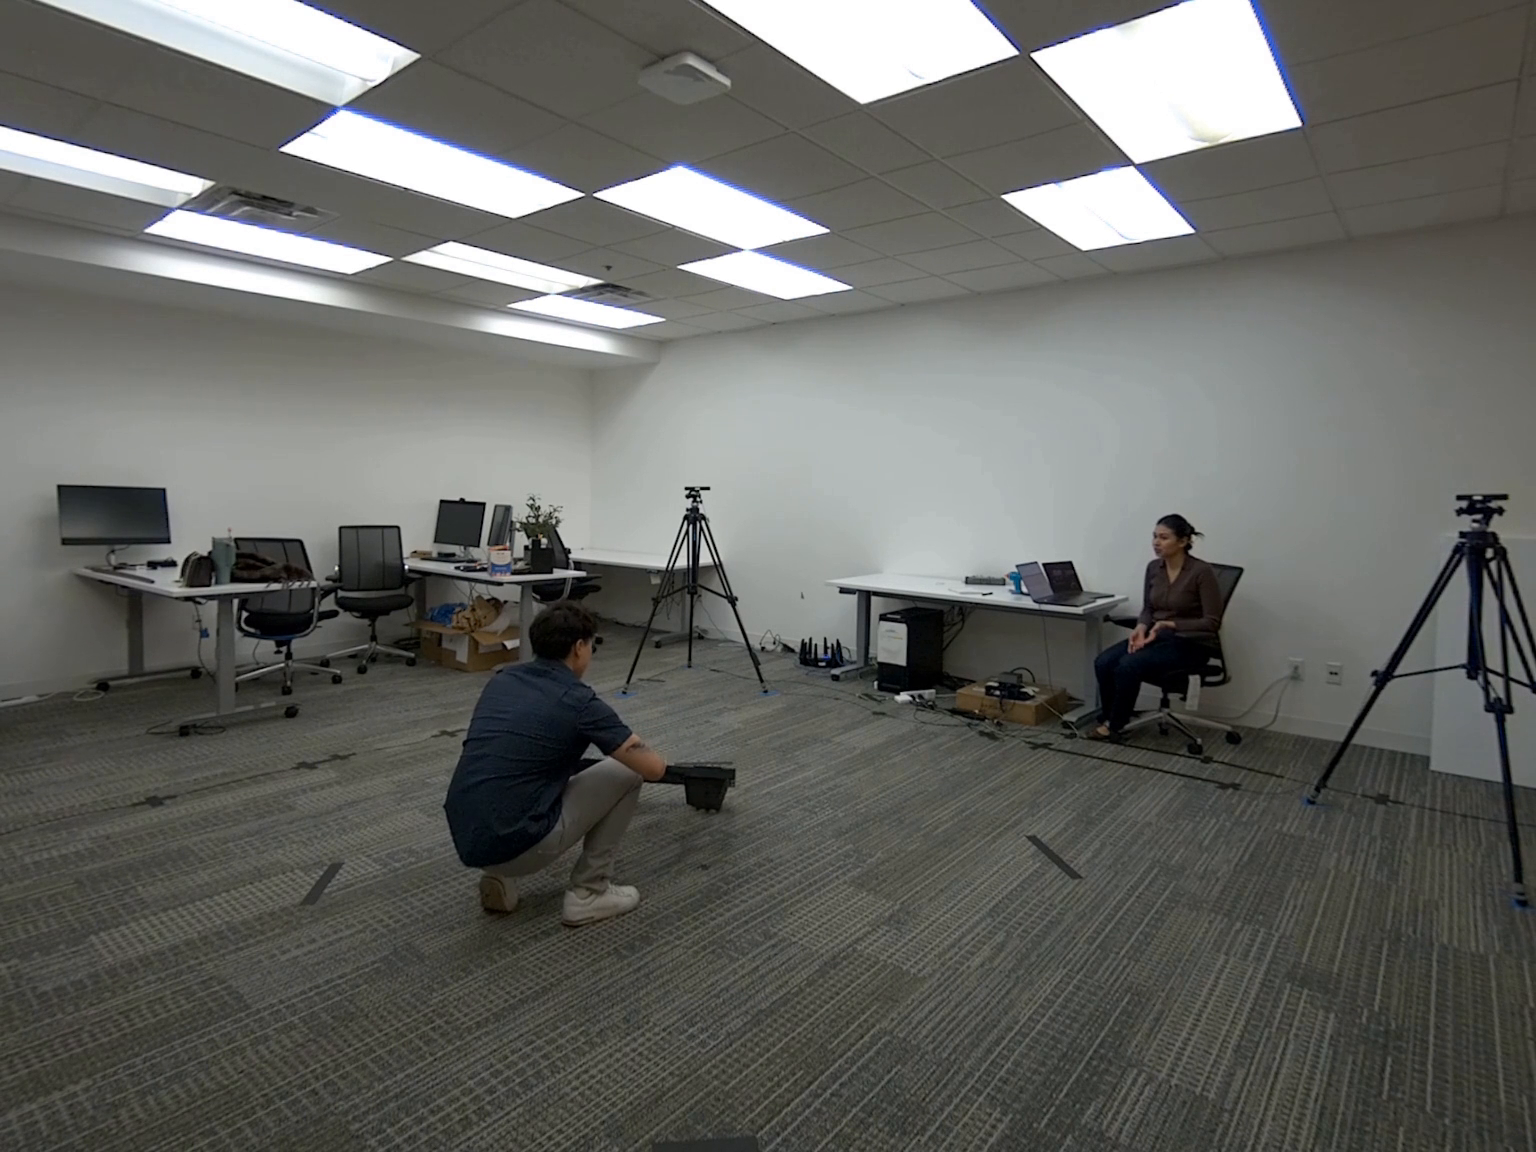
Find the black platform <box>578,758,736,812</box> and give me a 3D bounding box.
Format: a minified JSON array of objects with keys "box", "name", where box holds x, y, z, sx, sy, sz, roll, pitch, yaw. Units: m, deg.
[{"box":[-0.441,0.831,3.369,0.606,0.146,0.791,2,-17,0],"name":"black platform"}]
